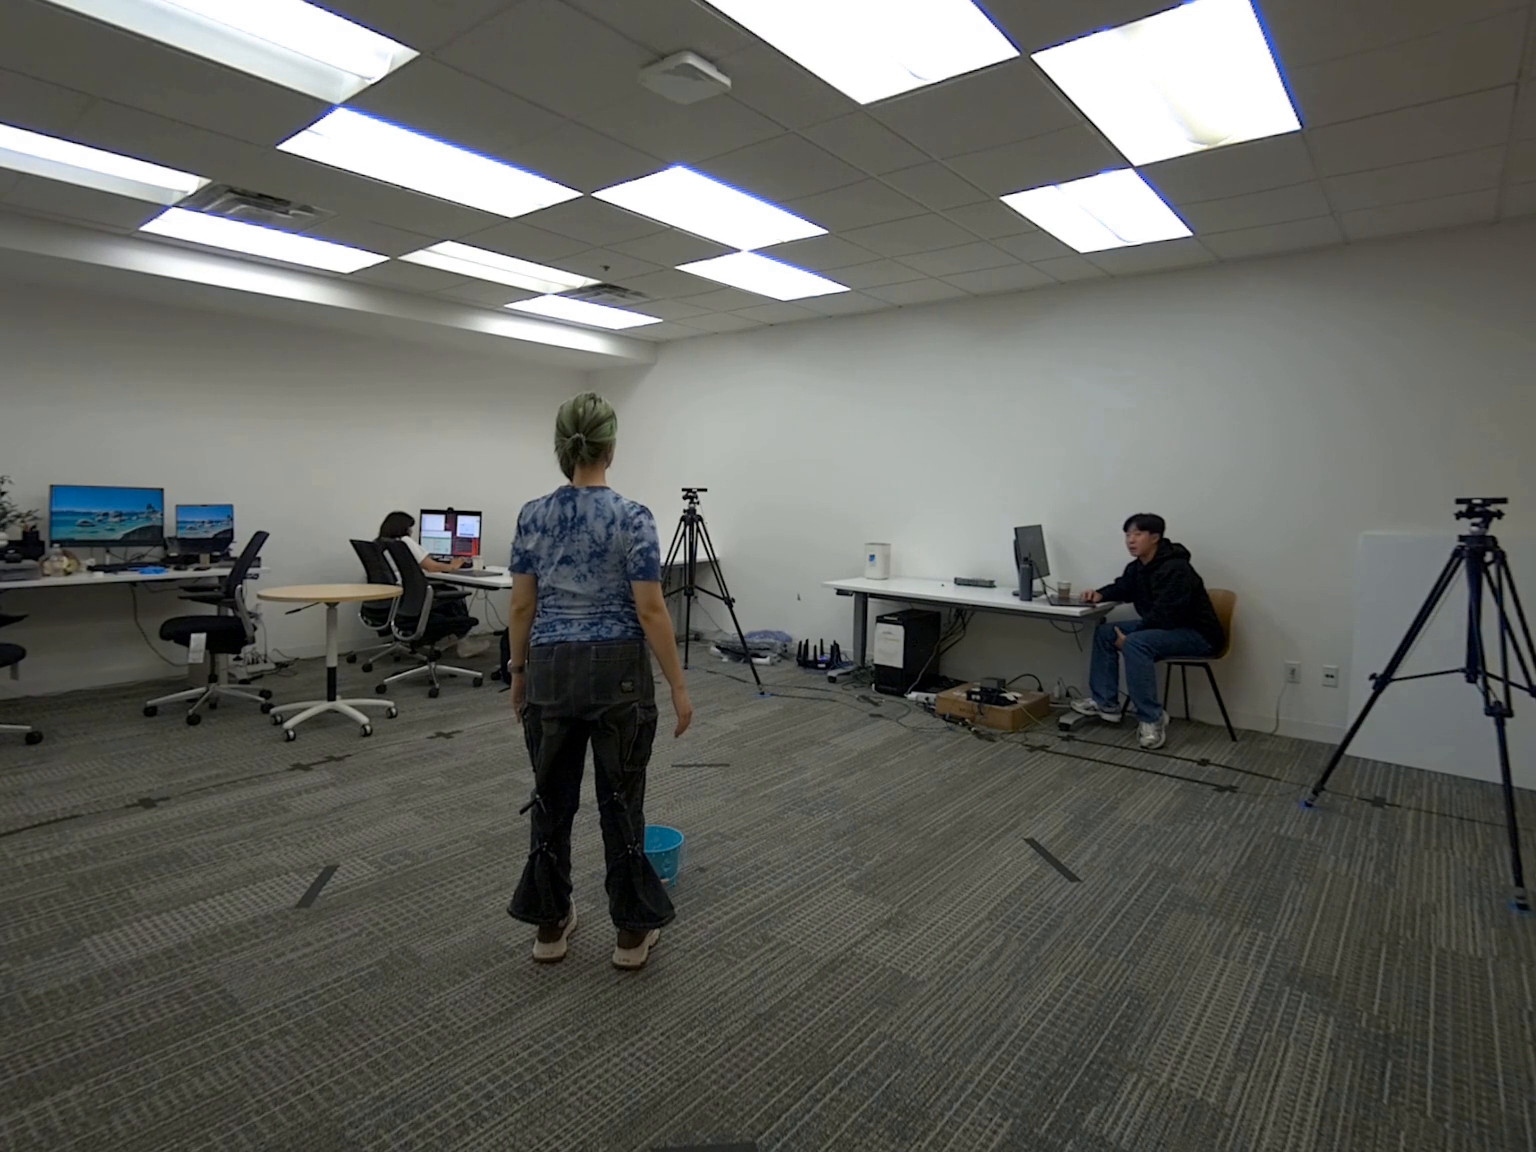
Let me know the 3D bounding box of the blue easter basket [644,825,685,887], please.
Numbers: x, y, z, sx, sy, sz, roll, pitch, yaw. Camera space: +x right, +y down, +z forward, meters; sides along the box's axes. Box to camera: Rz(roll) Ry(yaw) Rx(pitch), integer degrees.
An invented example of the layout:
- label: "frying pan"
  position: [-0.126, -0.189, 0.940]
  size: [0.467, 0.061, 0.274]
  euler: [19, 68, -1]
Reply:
- label: "blue easter basket"
  position: [-0.425, 0.995, 3.003]
  size: [0.243, 0.155, 0.245]
  euler: [2, 6, -2]
